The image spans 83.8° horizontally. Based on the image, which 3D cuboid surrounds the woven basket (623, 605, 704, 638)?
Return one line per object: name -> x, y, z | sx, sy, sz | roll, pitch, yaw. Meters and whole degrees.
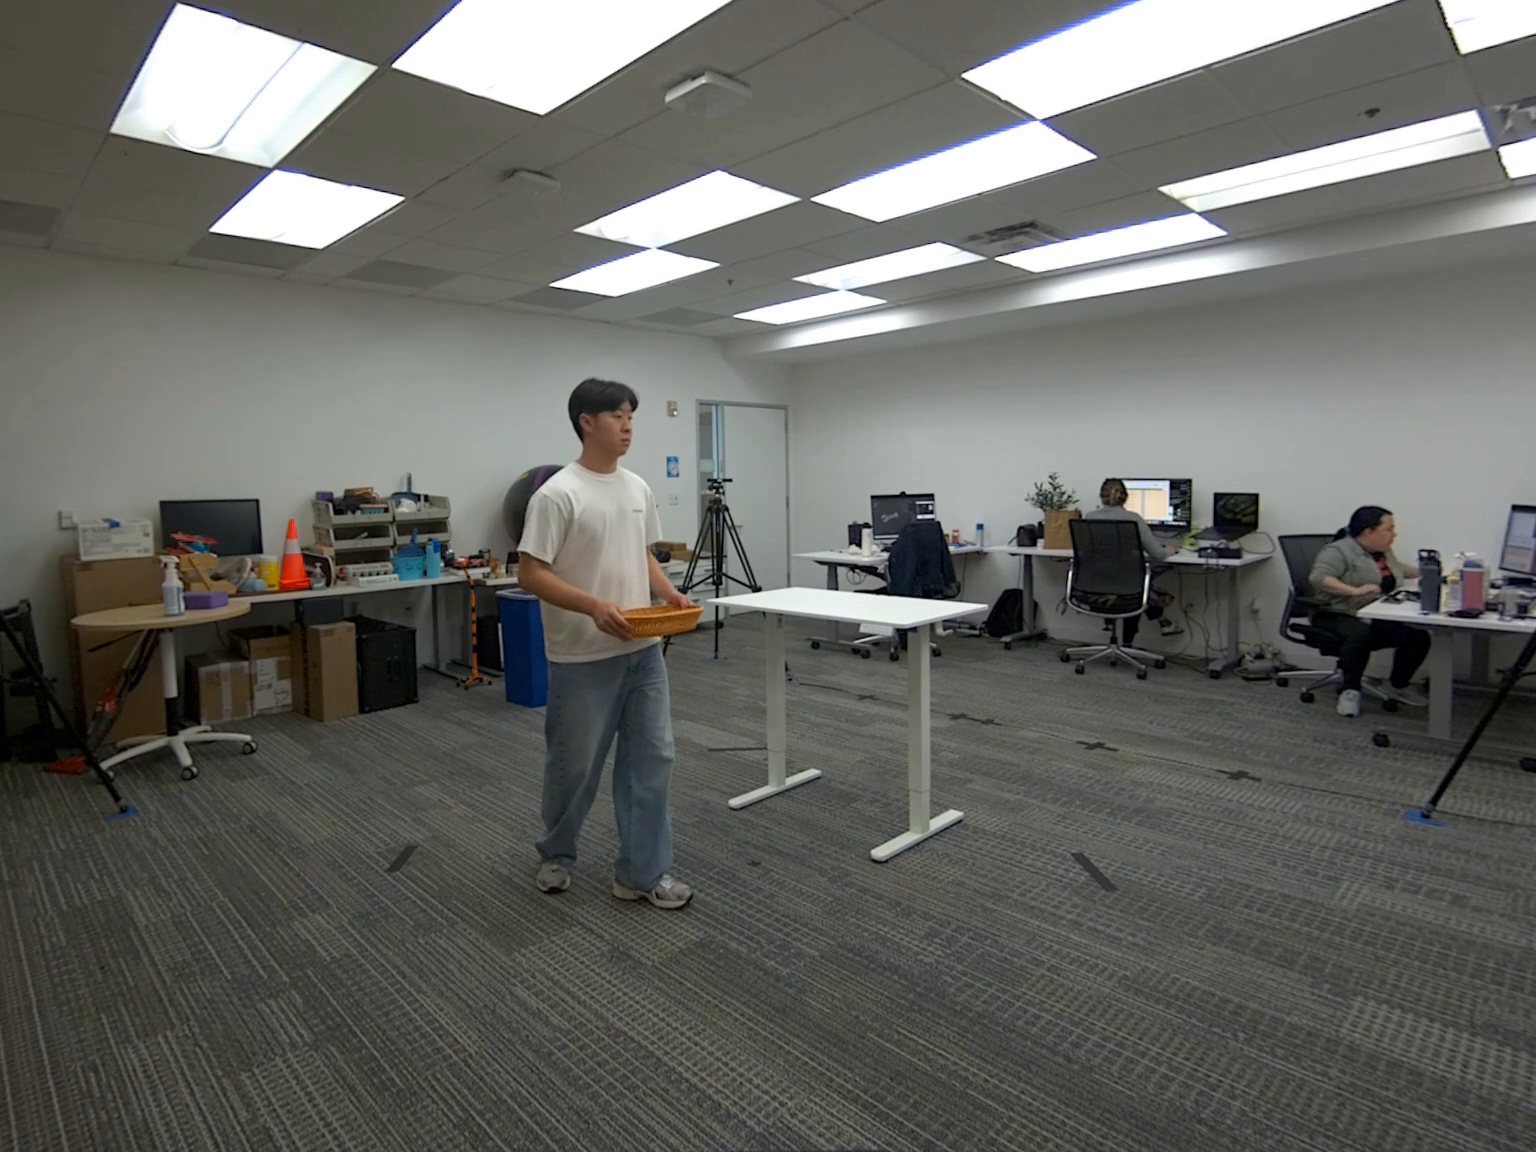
woven basket -> -0.391, 0.148, 2.716 | 0.341, 0.073, 0.259 | -5, 5, -38
